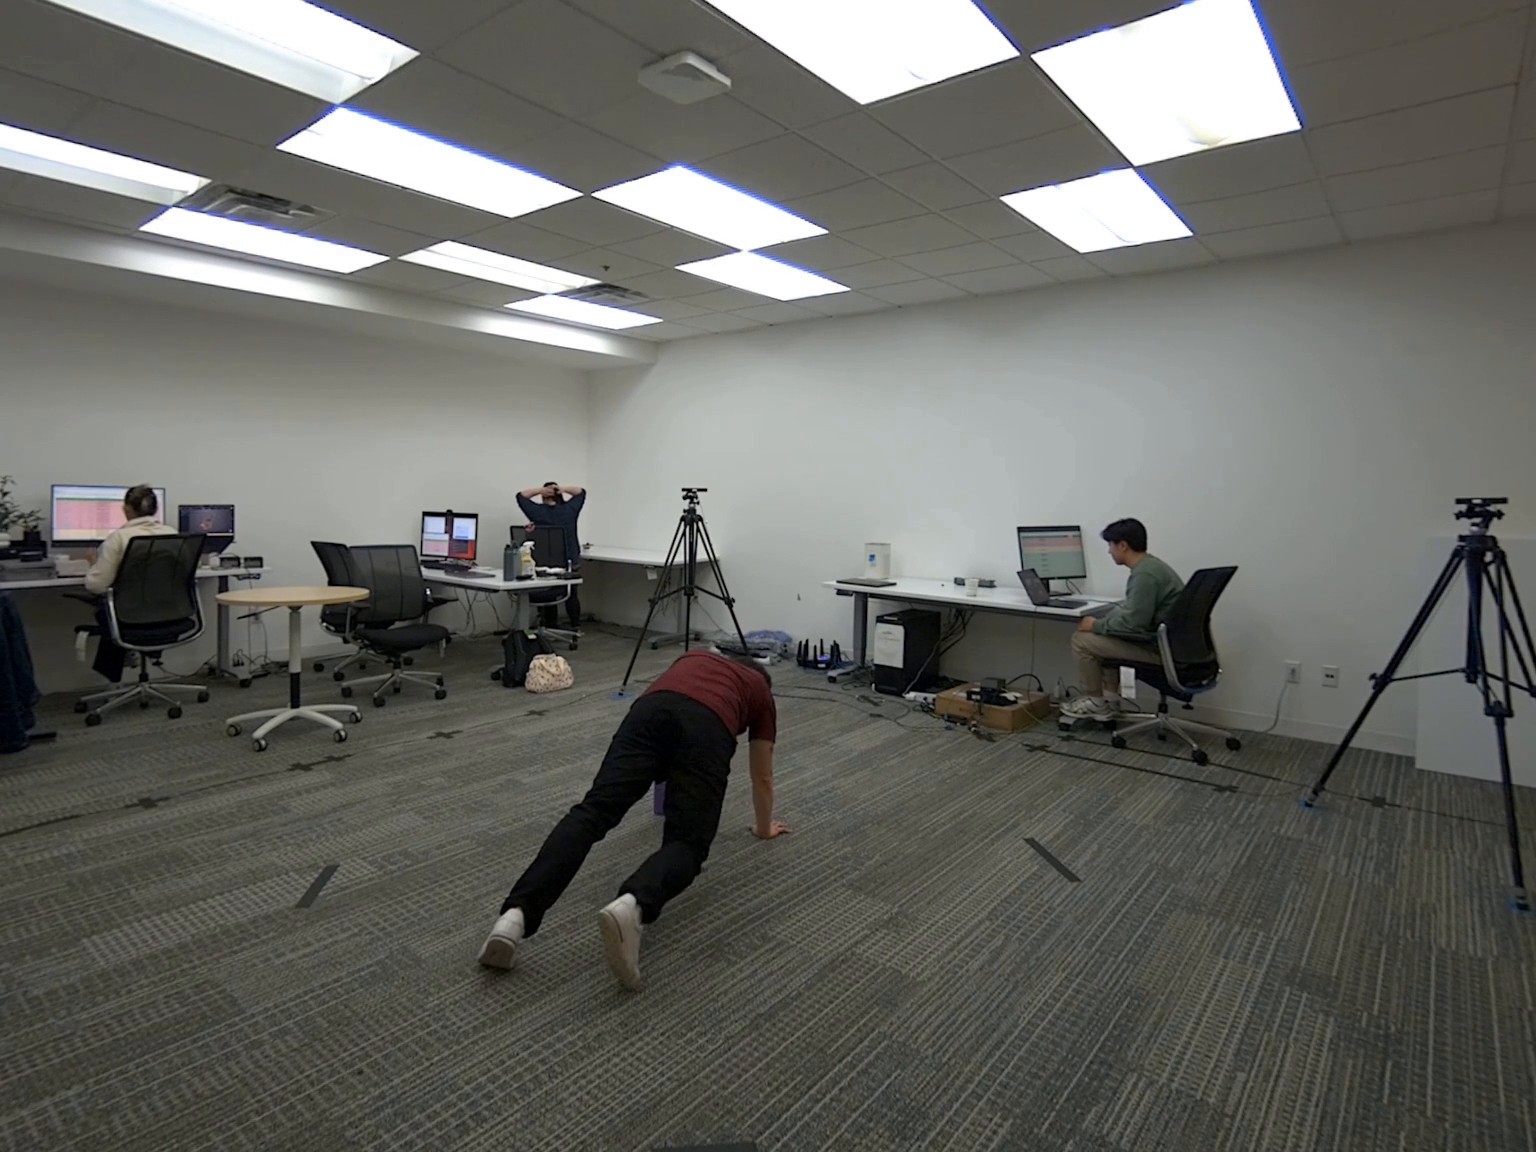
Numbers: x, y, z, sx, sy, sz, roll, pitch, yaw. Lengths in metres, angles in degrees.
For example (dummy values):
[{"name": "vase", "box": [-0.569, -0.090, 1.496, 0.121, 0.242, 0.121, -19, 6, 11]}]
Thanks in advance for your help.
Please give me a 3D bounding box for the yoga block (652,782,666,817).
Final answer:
[{"name": "yoga block", "box": [-0.379, 0.934, 3.625, 0.233, 0.149, 0.075, 2, 2, 14]}]
